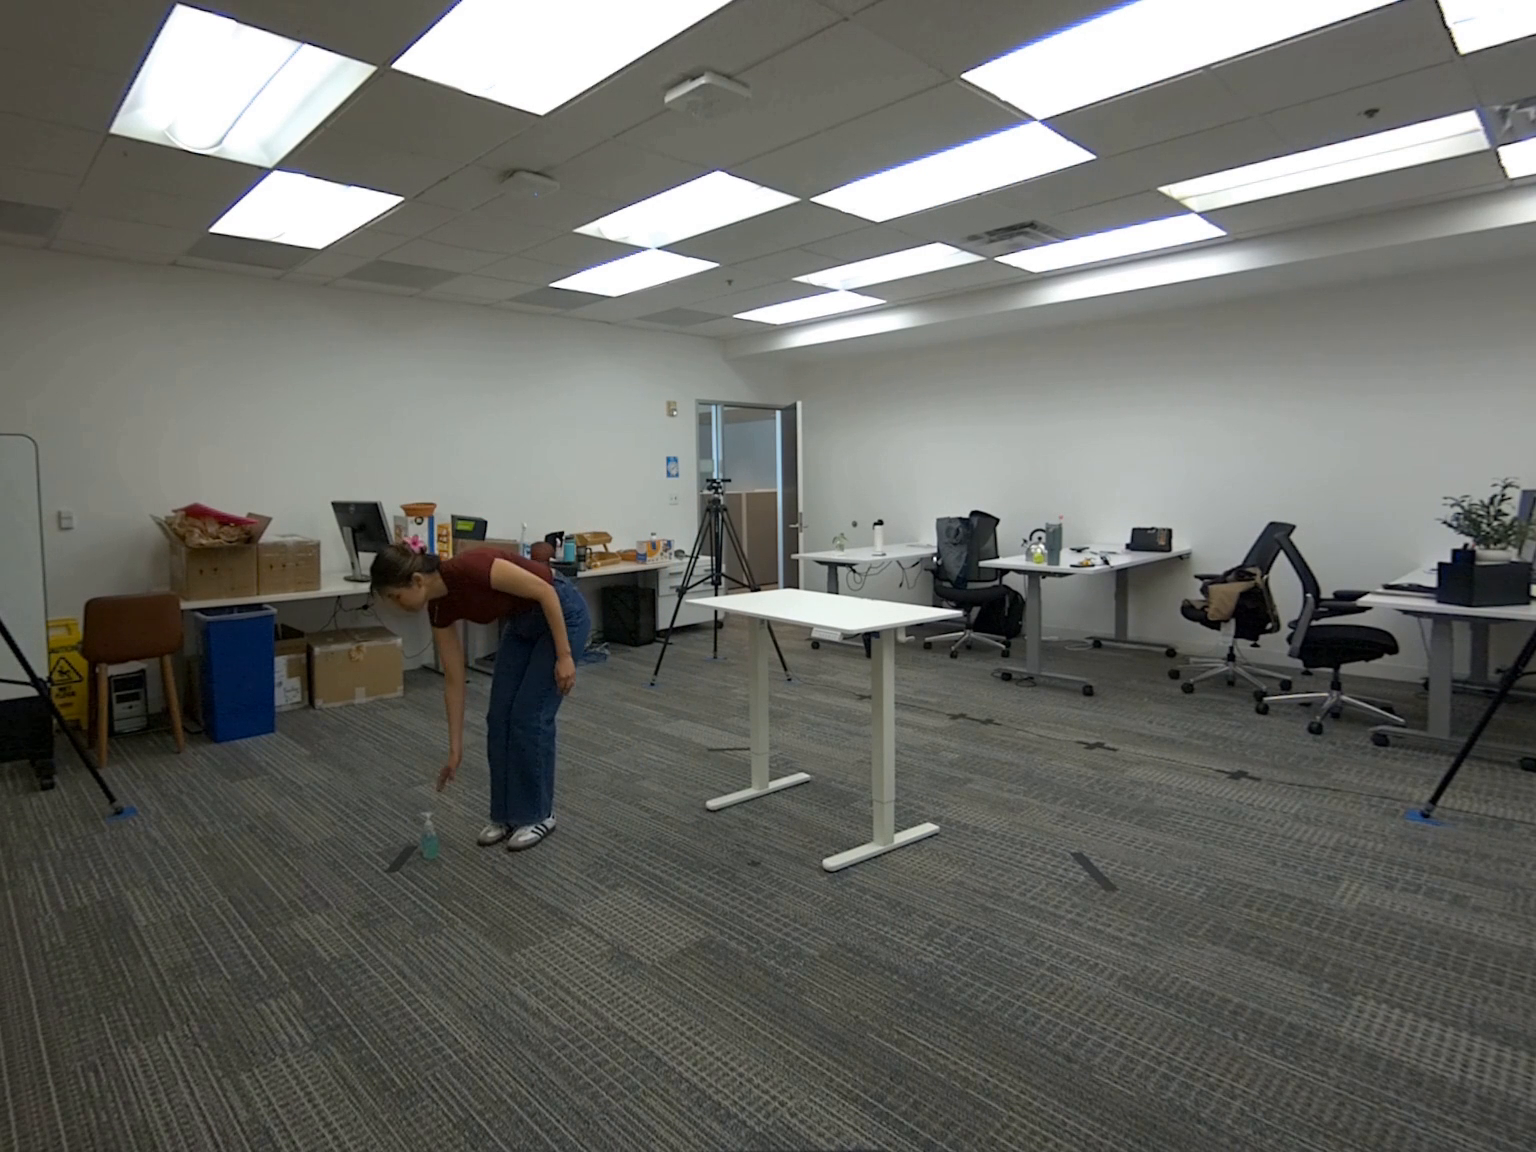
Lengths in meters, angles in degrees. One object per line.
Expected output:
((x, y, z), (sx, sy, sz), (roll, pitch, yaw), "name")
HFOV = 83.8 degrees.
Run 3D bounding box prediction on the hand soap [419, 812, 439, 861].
((-1.274, 0.977, 3.219), (0.086, 0.167, 0.043), (1, 7, 24), "hand soap")
